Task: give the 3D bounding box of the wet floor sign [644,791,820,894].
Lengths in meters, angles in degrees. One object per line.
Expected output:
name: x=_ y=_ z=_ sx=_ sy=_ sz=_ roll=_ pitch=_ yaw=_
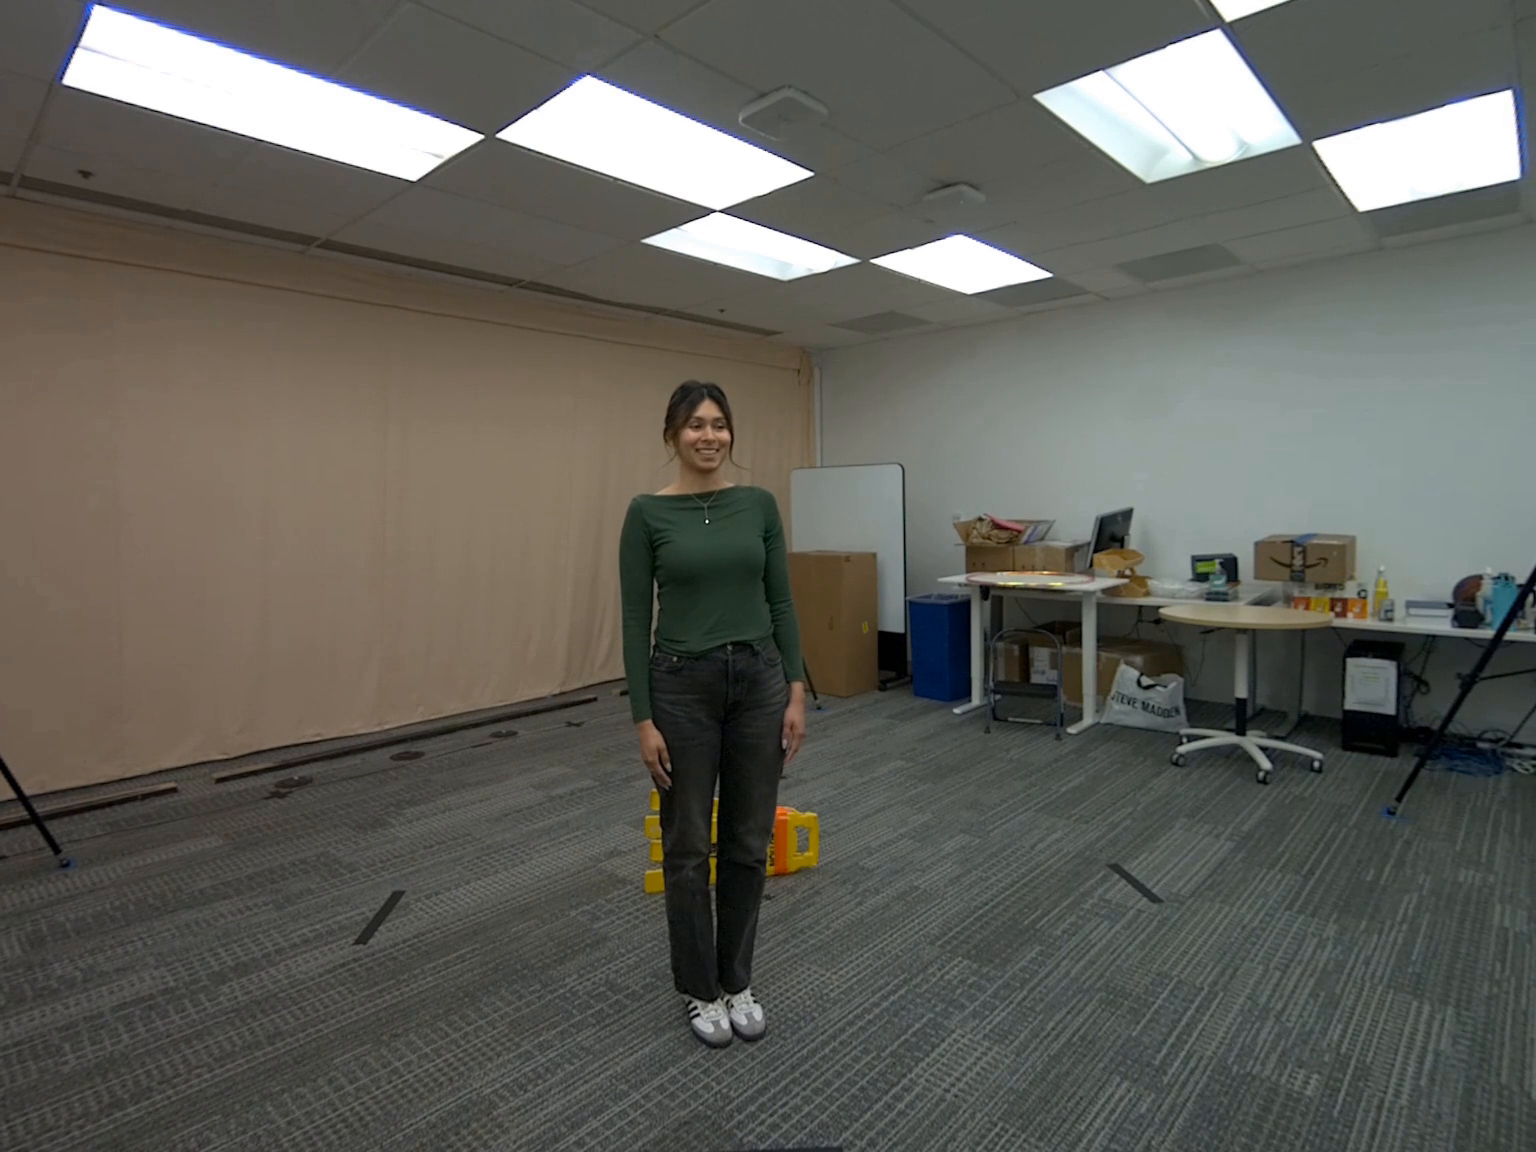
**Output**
wet floor sign: x=-0.125 y=0.991 z=3.182 sx=0.645 sy=0.282 sz=0.291 roll=1 pitch=3 yaw=-2
